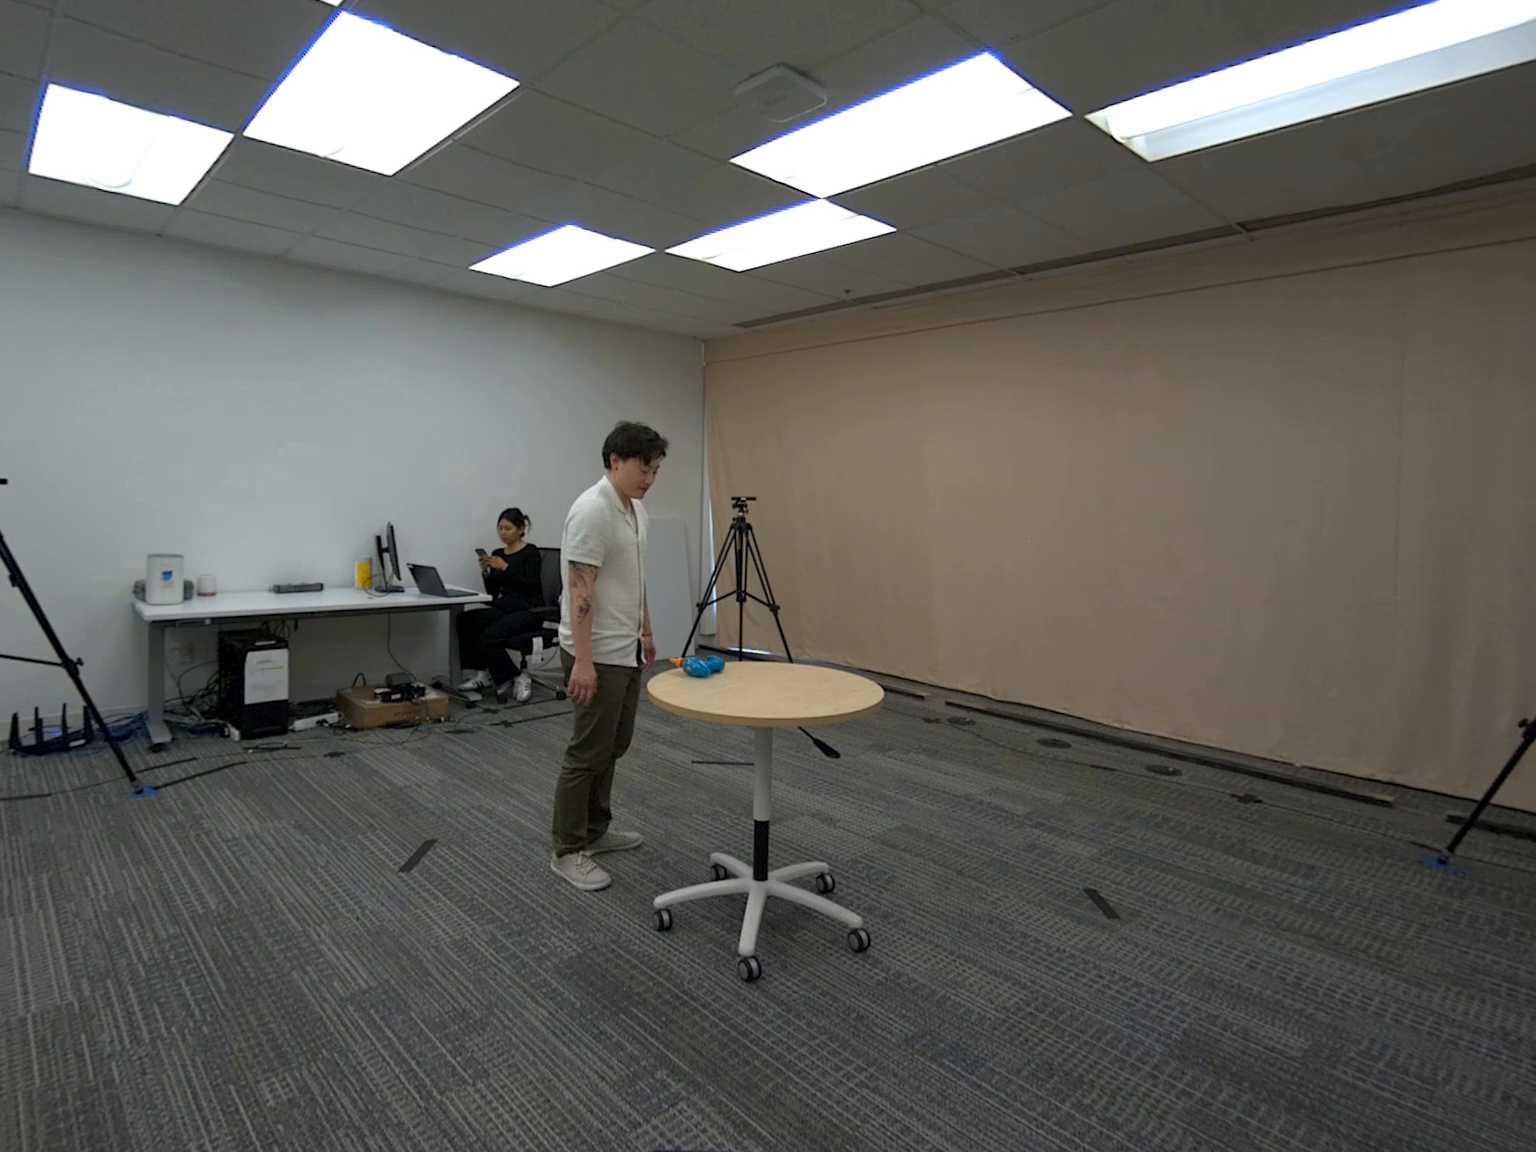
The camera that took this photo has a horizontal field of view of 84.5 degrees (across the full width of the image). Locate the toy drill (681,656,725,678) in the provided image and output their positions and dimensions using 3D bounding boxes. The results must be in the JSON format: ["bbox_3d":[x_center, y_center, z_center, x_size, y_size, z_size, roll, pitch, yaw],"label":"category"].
[{"bbox_3d":[-0.255,0.308,2.896,0.174,0.061,0.143,13,8,29],"label":"toy drill"}]
